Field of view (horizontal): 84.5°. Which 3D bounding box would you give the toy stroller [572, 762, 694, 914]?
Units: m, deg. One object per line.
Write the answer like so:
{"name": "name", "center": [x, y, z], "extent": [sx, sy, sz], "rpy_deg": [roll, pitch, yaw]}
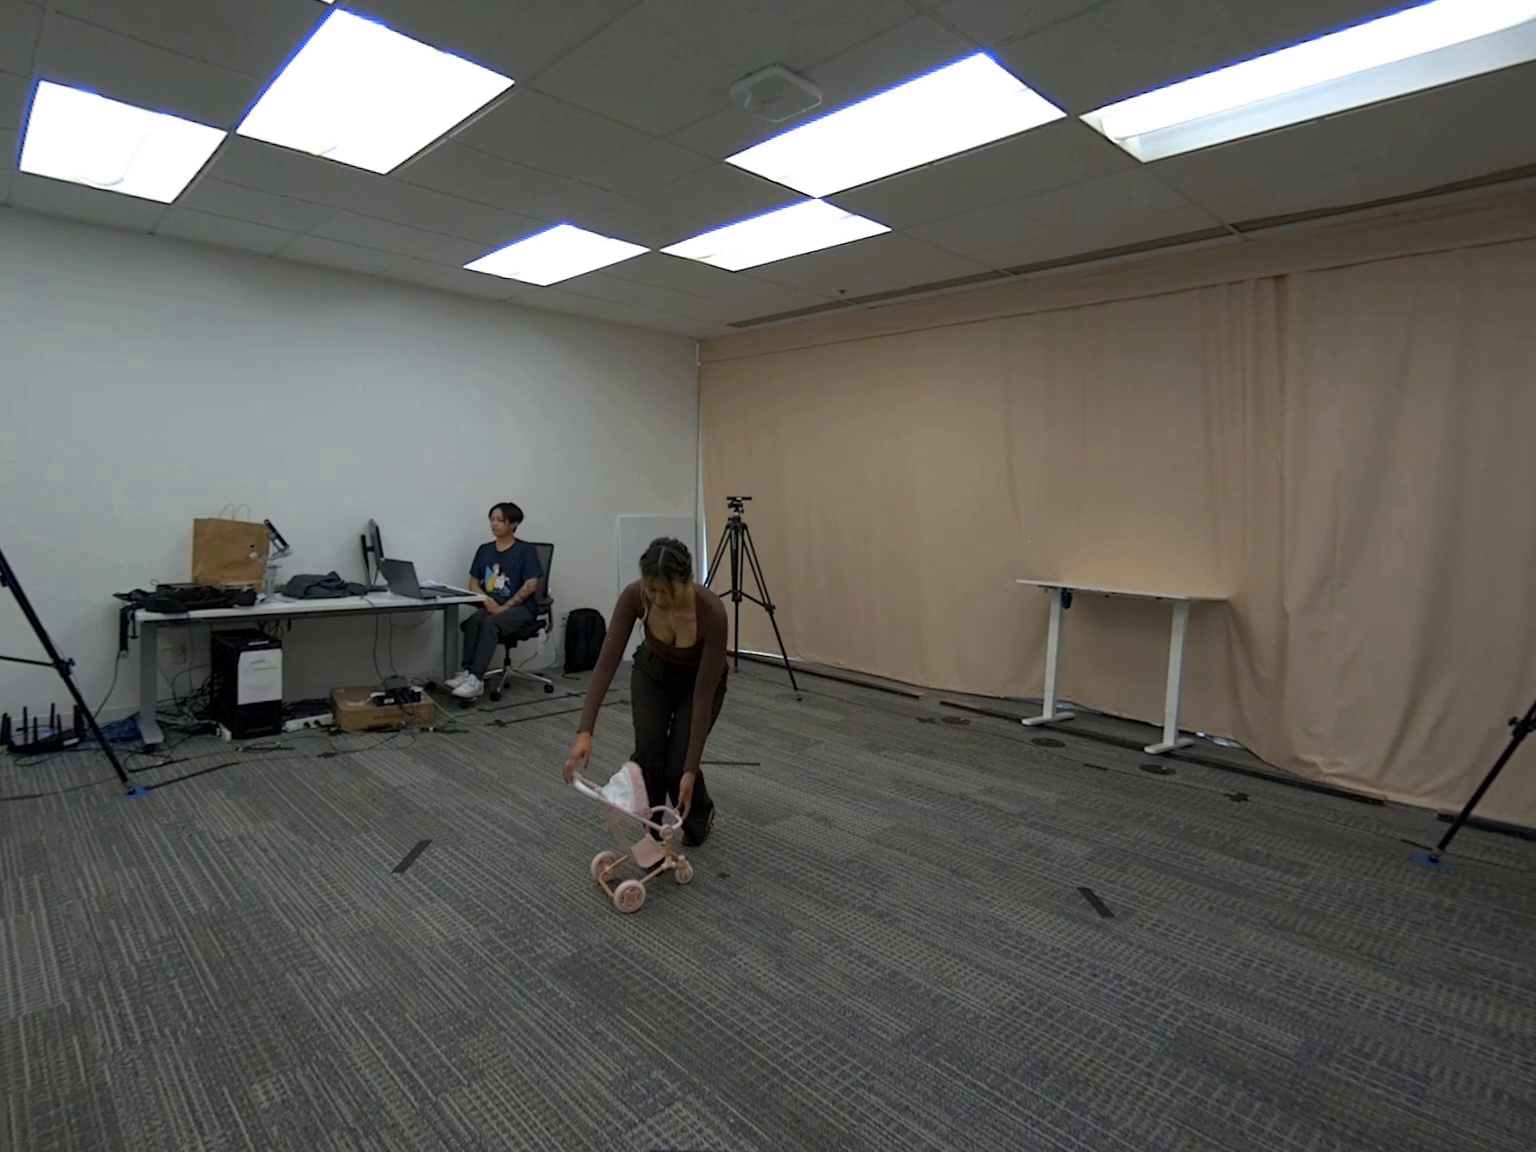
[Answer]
{"name": "toy stroller", "center": [-0.474, 0.882, 2.935], "extent": [0.337, 0.530, 0.287], "rpy_deg": [-17, 10, -22]}
